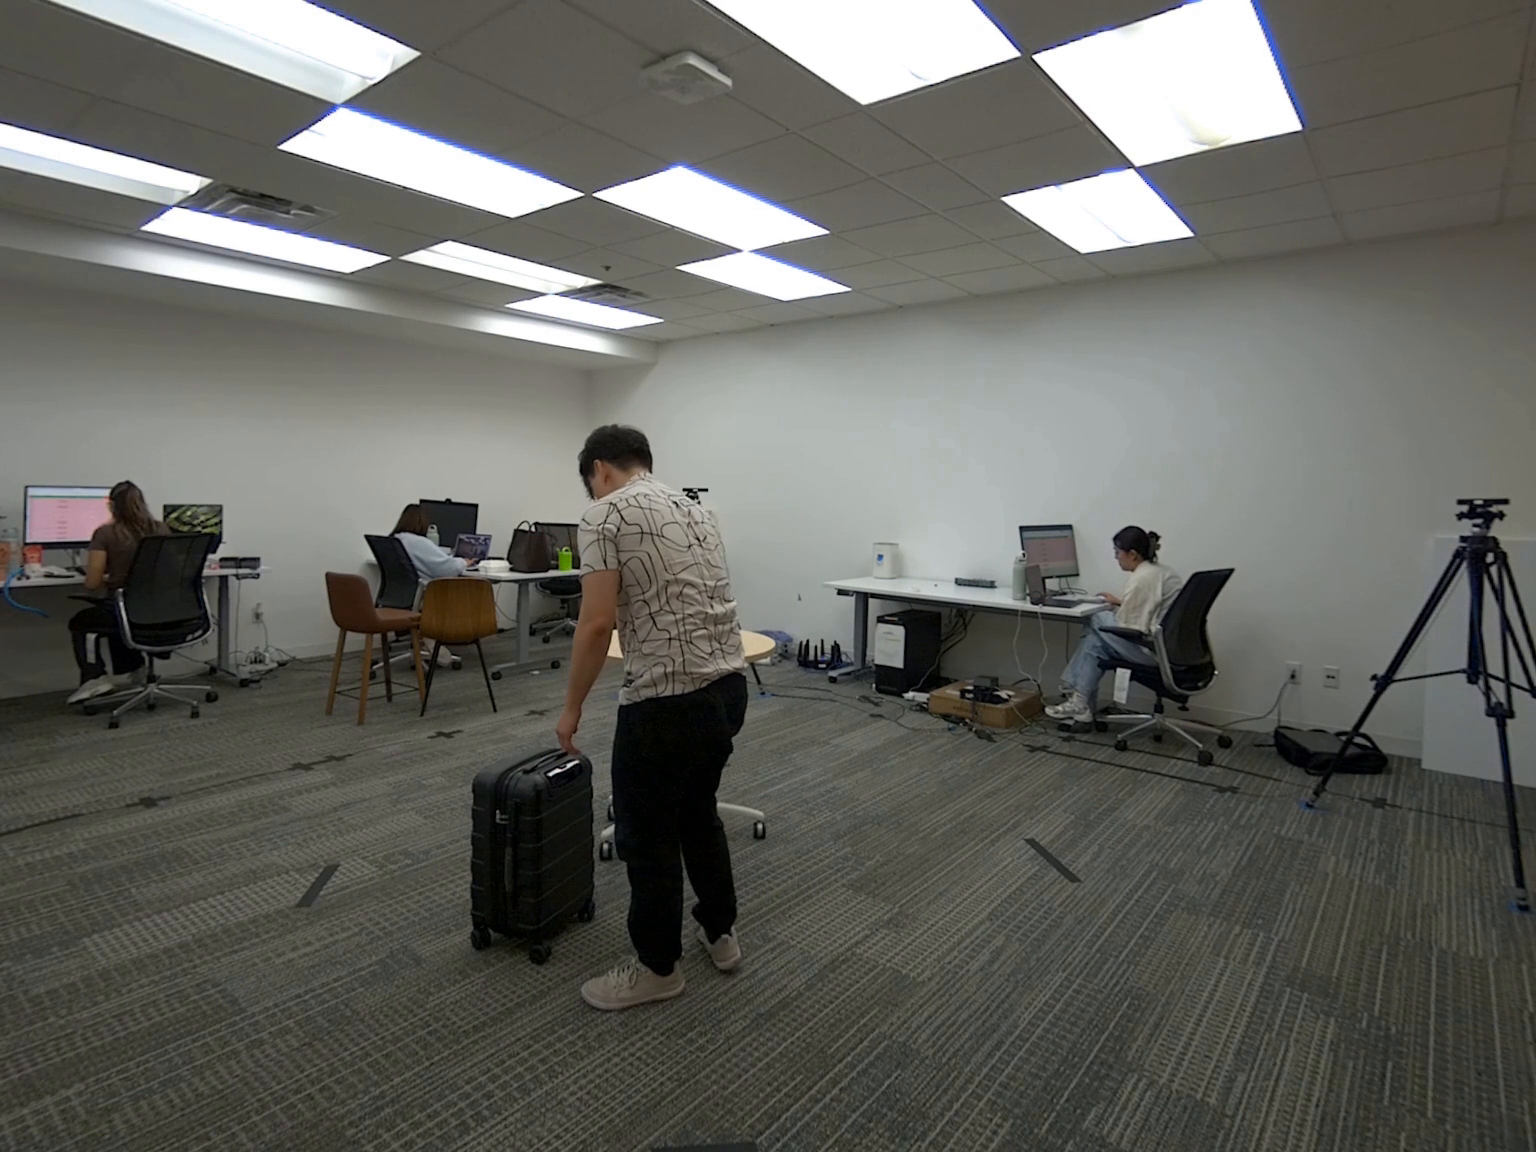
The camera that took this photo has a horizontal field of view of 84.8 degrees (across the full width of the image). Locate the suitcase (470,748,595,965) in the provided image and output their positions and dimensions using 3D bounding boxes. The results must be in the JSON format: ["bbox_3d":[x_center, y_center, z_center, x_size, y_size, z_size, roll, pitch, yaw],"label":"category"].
[{"bbox_3d":[-0.738,0.833,2.651,0.254,0.548,0.367,1,3,23],"label":"suitcase"}]
